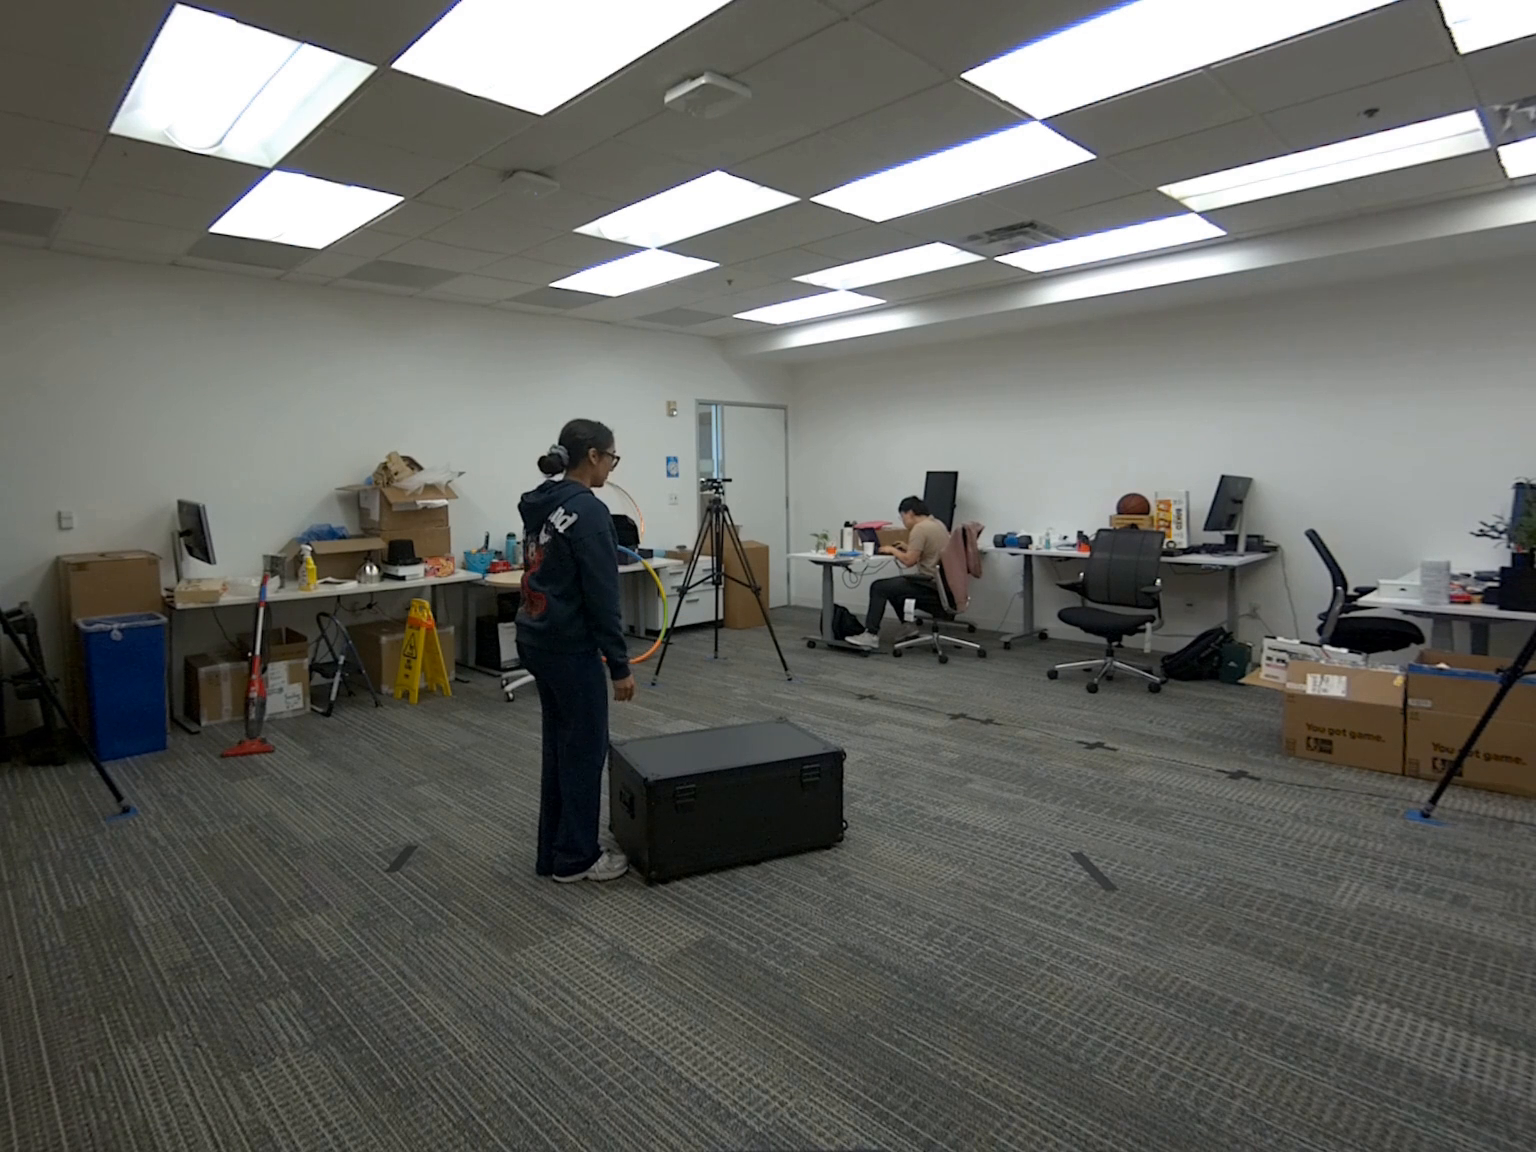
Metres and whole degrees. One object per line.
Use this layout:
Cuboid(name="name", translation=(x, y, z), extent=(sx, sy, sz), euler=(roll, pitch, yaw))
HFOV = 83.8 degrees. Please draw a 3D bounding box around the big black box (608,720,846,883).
Cuboid(name="big black box", translation=(-0.138, 0.848, 3.326), extent=(0.844, 0.519, 0.406), euler=(-4, 6, -25))
